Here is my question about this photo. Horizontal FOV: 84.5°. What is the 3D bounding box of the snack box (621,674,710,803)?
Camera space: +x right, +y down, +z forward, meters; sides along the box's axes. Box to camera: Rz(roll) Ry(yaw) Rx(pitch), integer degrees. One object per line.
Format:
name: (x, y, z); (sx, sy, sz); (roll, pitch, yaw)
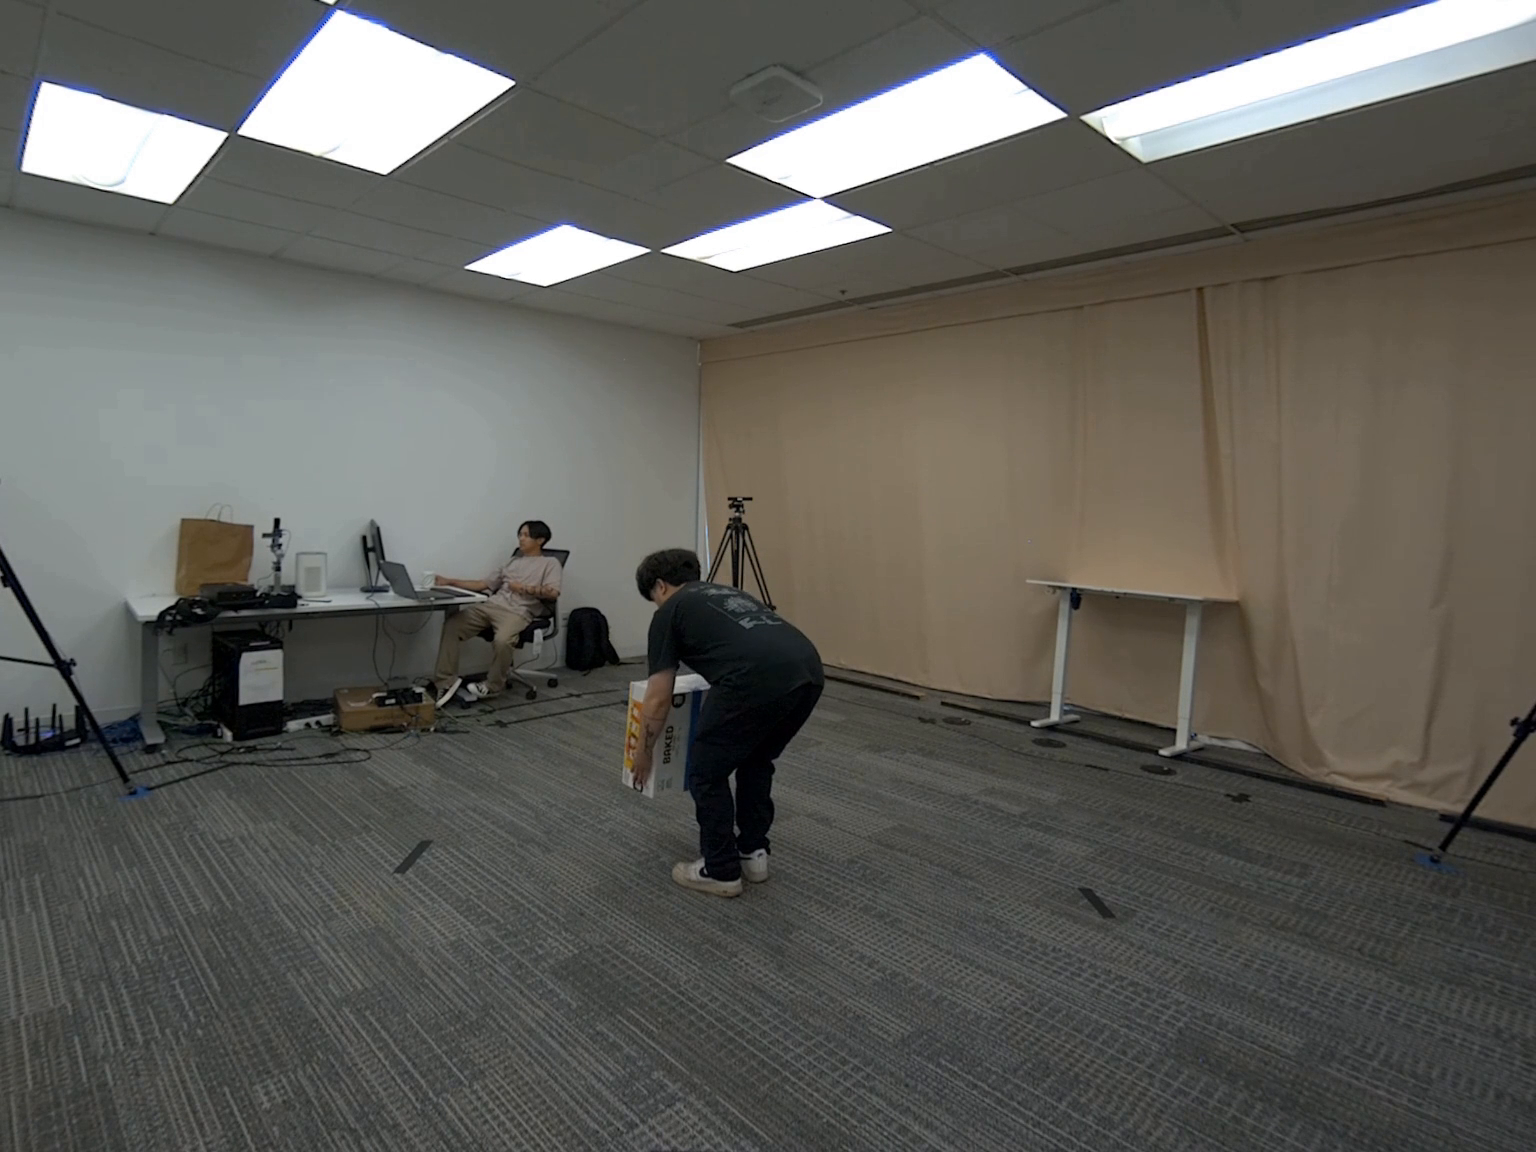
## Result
snack box: (-0.364, 0.622, 3.328); (0.332, 0.404, 0.211); (0, 7, -45)
